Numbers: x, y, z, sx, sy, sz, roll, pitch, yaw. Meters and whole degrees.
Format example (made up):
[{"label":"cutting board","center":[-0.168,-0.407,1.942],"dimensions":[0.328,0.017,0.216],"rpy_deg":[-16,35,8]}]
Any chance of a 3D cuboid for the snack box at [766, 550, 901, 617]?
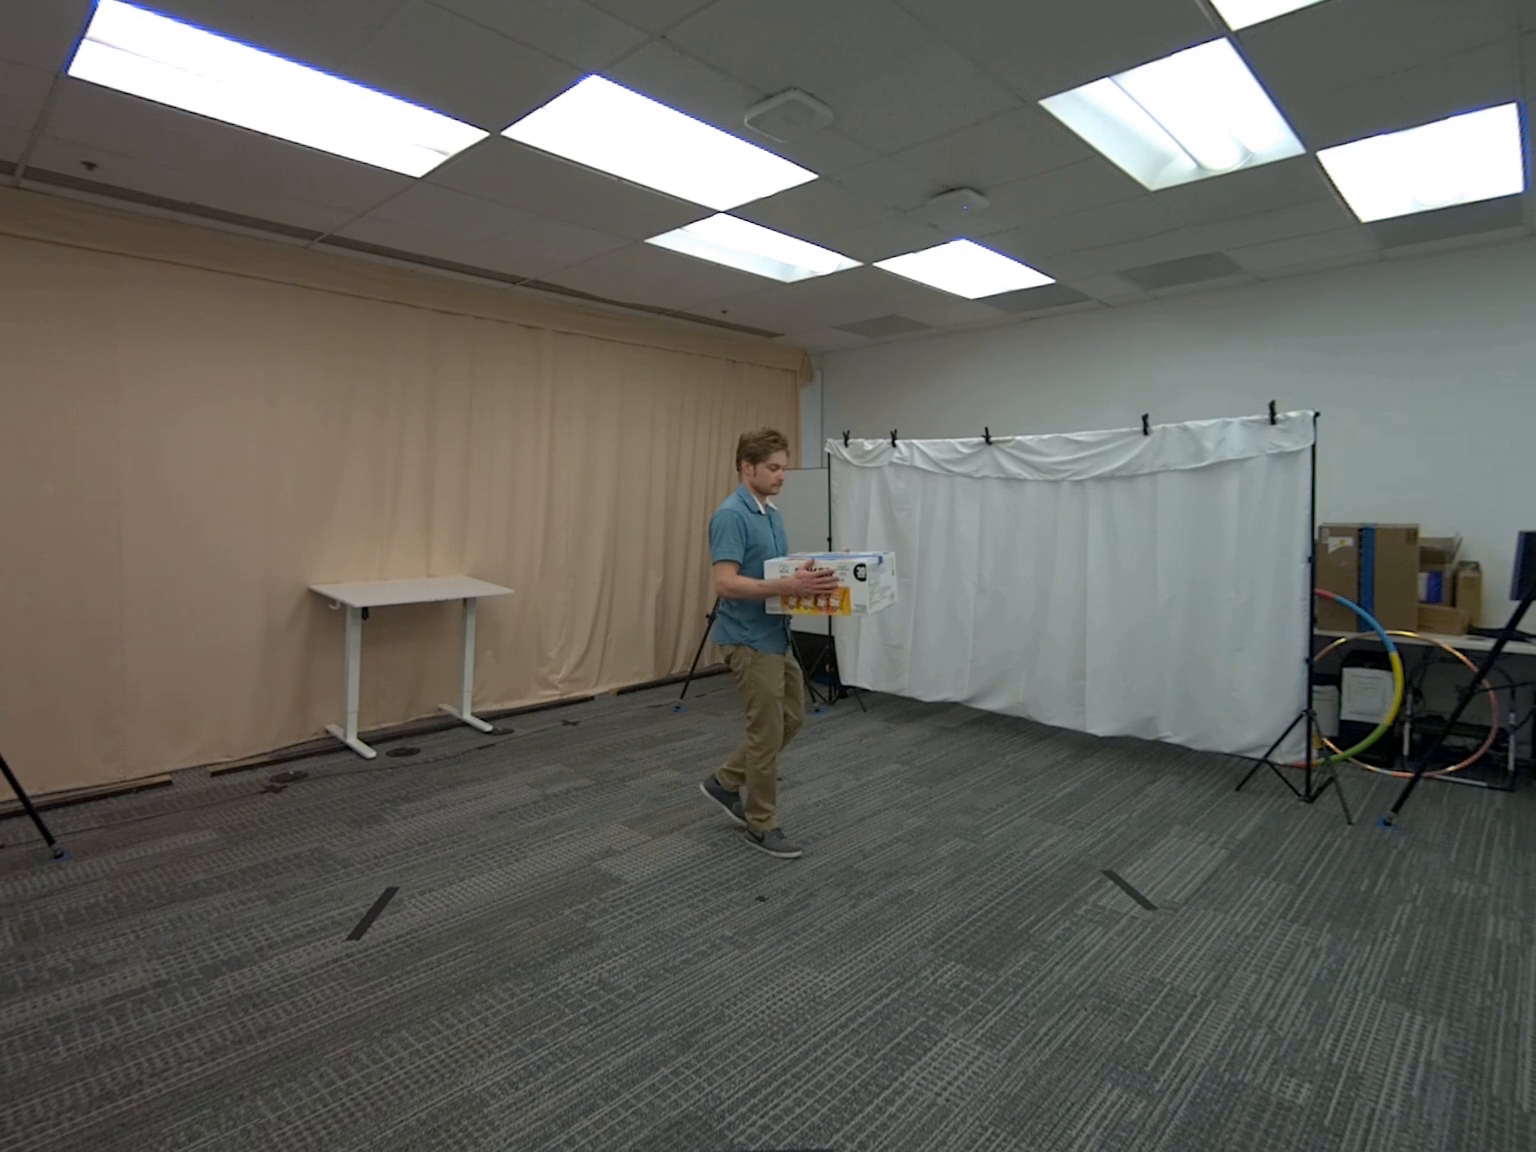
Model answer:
[{"label":"snack box","center":[0.254,0.020,3.232],"dimensions":[0.416,0.205,0.332],"rpy_deg":[-1,5,27]}]
